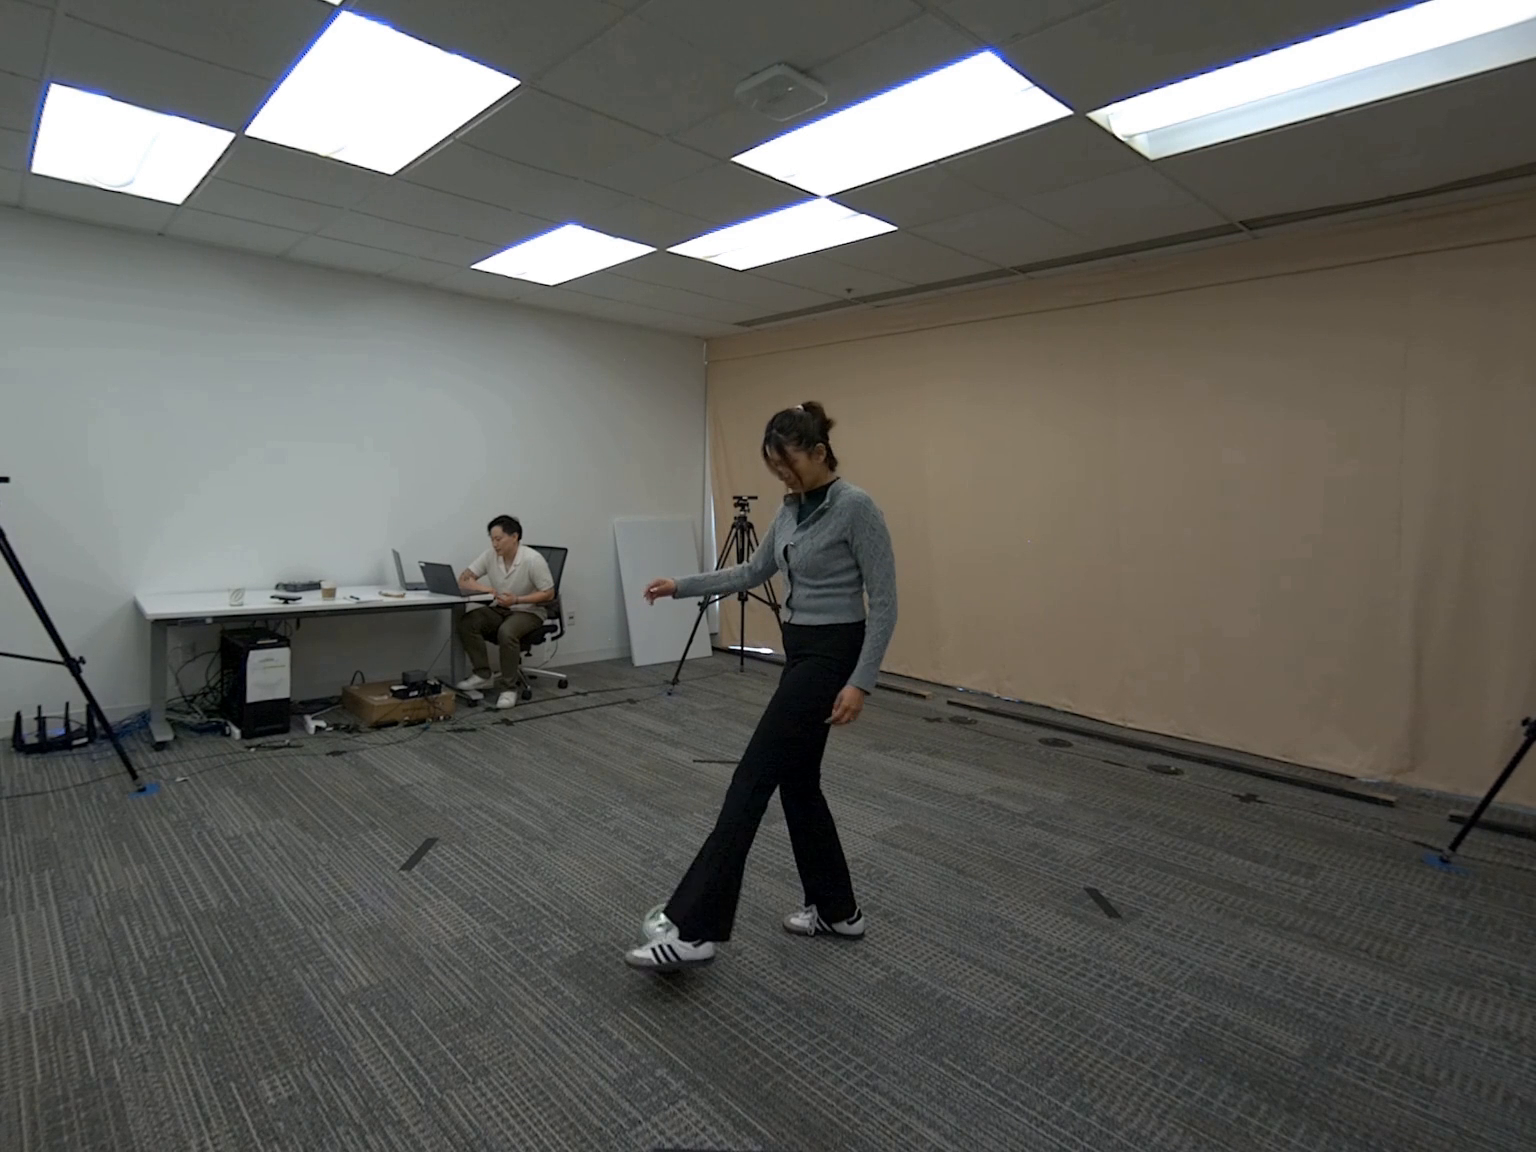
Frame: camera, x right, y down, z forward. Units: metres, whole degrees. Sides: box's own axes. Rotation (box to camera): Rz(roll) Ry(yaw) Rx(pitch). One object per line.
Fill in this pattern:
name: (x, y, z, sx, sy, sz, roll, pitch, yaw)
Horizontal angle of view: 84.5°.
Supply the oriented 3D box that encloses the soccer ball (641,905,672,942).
soccer ball: (-0.290, 1.067, 2.488, 0.187, 0.187, 0.188, 1, 4, -1)
